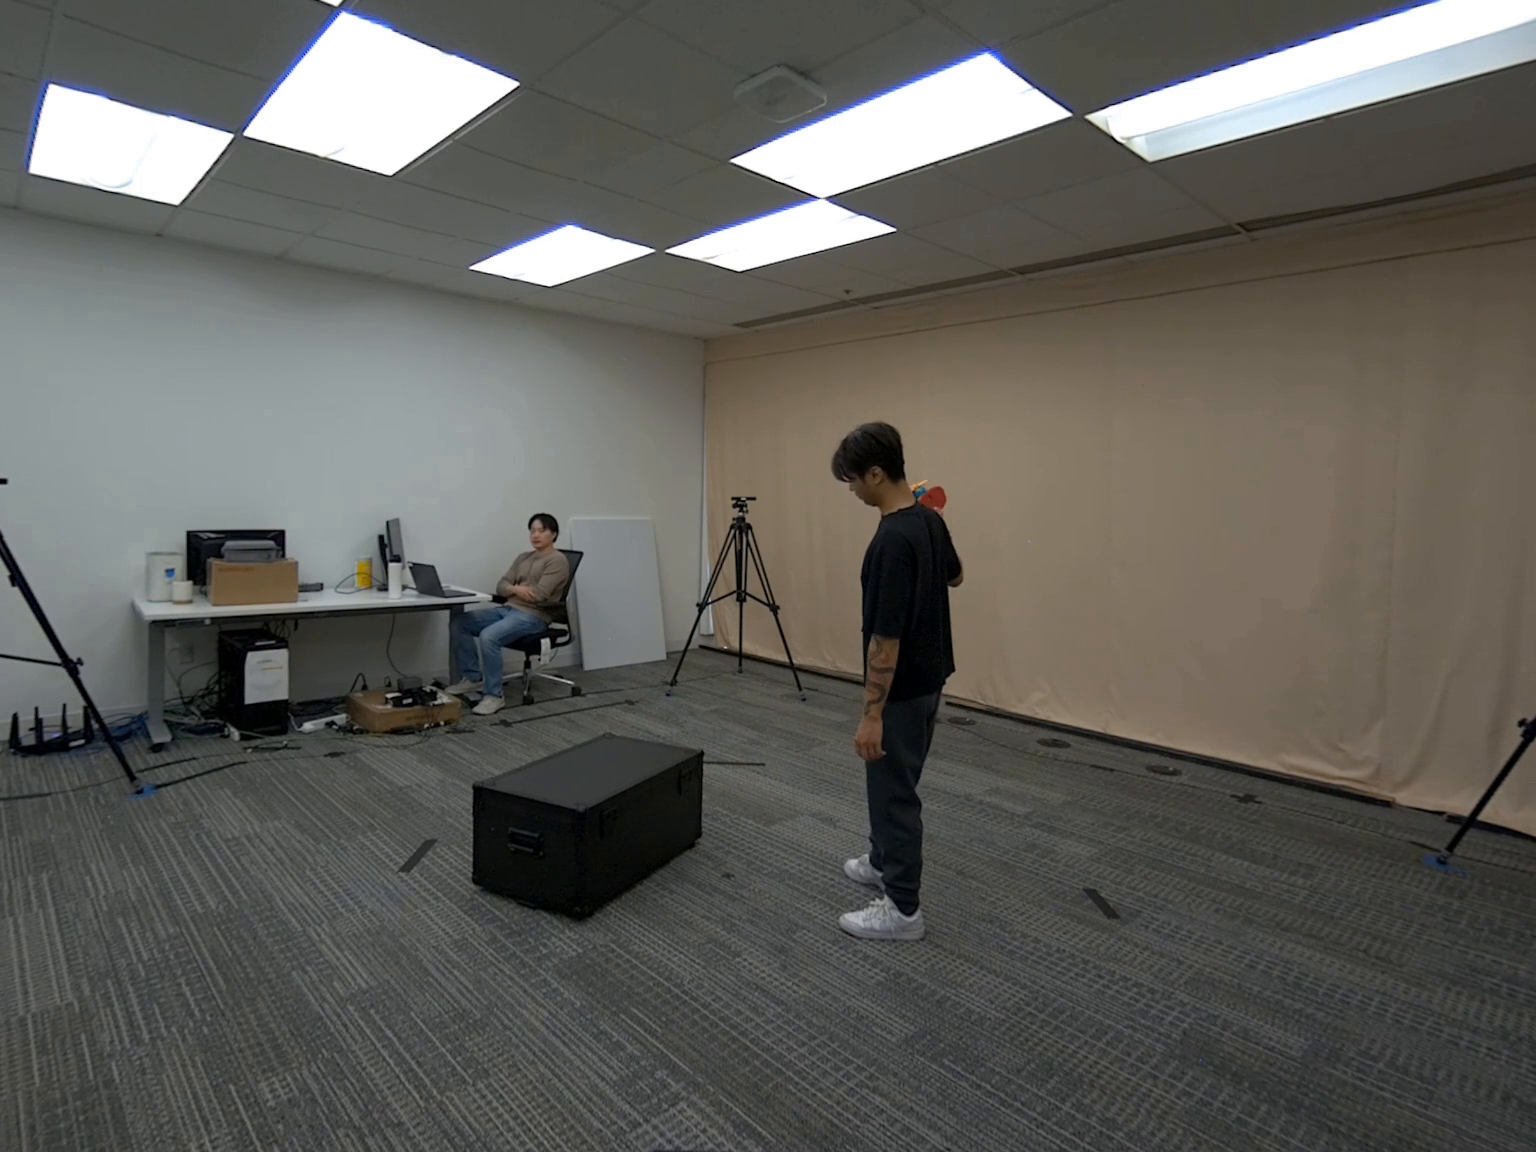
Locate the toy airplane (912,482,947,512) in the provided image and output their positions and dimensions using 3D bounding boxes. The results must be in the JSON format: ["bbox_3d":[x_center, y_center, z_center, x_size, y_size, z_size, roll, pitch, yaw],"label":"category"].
[{"bbox_3d":[0.600,-0.228,3.230,0.254,0.254,0.157,34,-41,-18],"label":"toy airplane"}]
